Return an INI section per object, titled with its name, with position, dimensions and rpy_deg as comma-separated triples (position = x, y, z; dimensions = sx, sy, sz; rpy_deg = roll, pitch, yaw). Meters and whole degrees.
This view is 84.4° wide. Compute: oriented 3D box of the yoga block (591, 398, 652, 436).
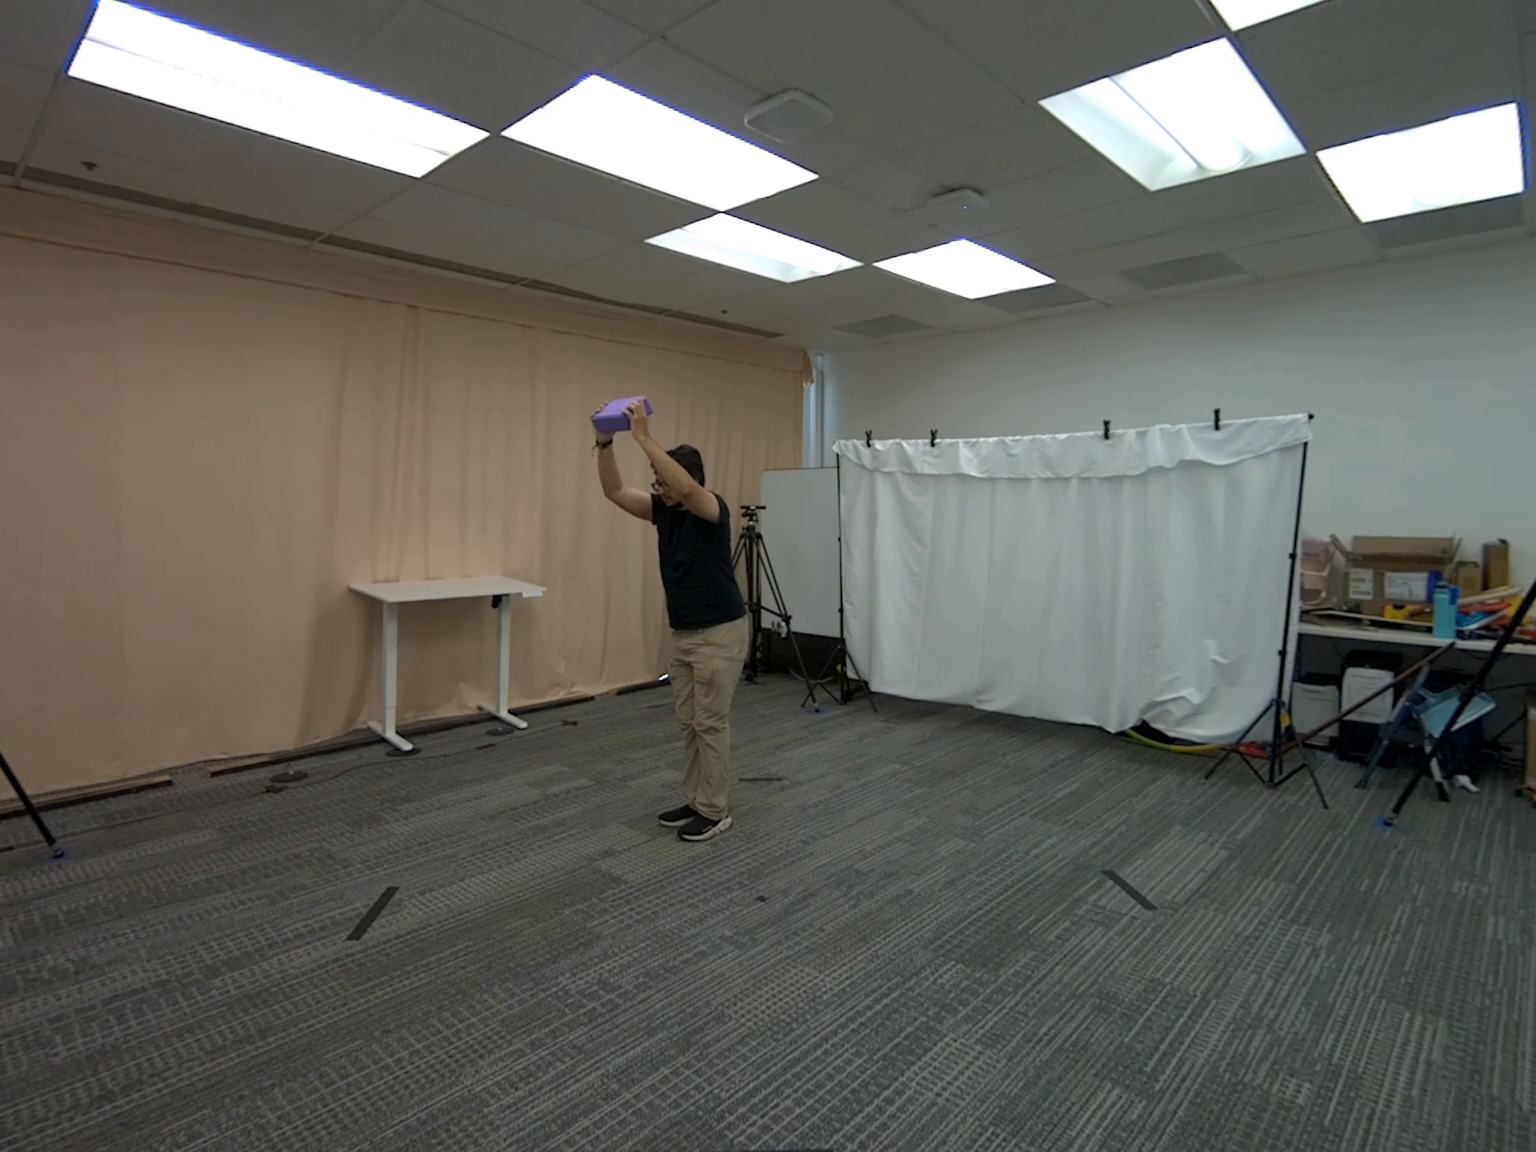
[yoga block]
position = -0.575, -0.634, 3.341
dimensions = 0.237, 0.074, 0.148
rpy_deg = 6, 44, 48
